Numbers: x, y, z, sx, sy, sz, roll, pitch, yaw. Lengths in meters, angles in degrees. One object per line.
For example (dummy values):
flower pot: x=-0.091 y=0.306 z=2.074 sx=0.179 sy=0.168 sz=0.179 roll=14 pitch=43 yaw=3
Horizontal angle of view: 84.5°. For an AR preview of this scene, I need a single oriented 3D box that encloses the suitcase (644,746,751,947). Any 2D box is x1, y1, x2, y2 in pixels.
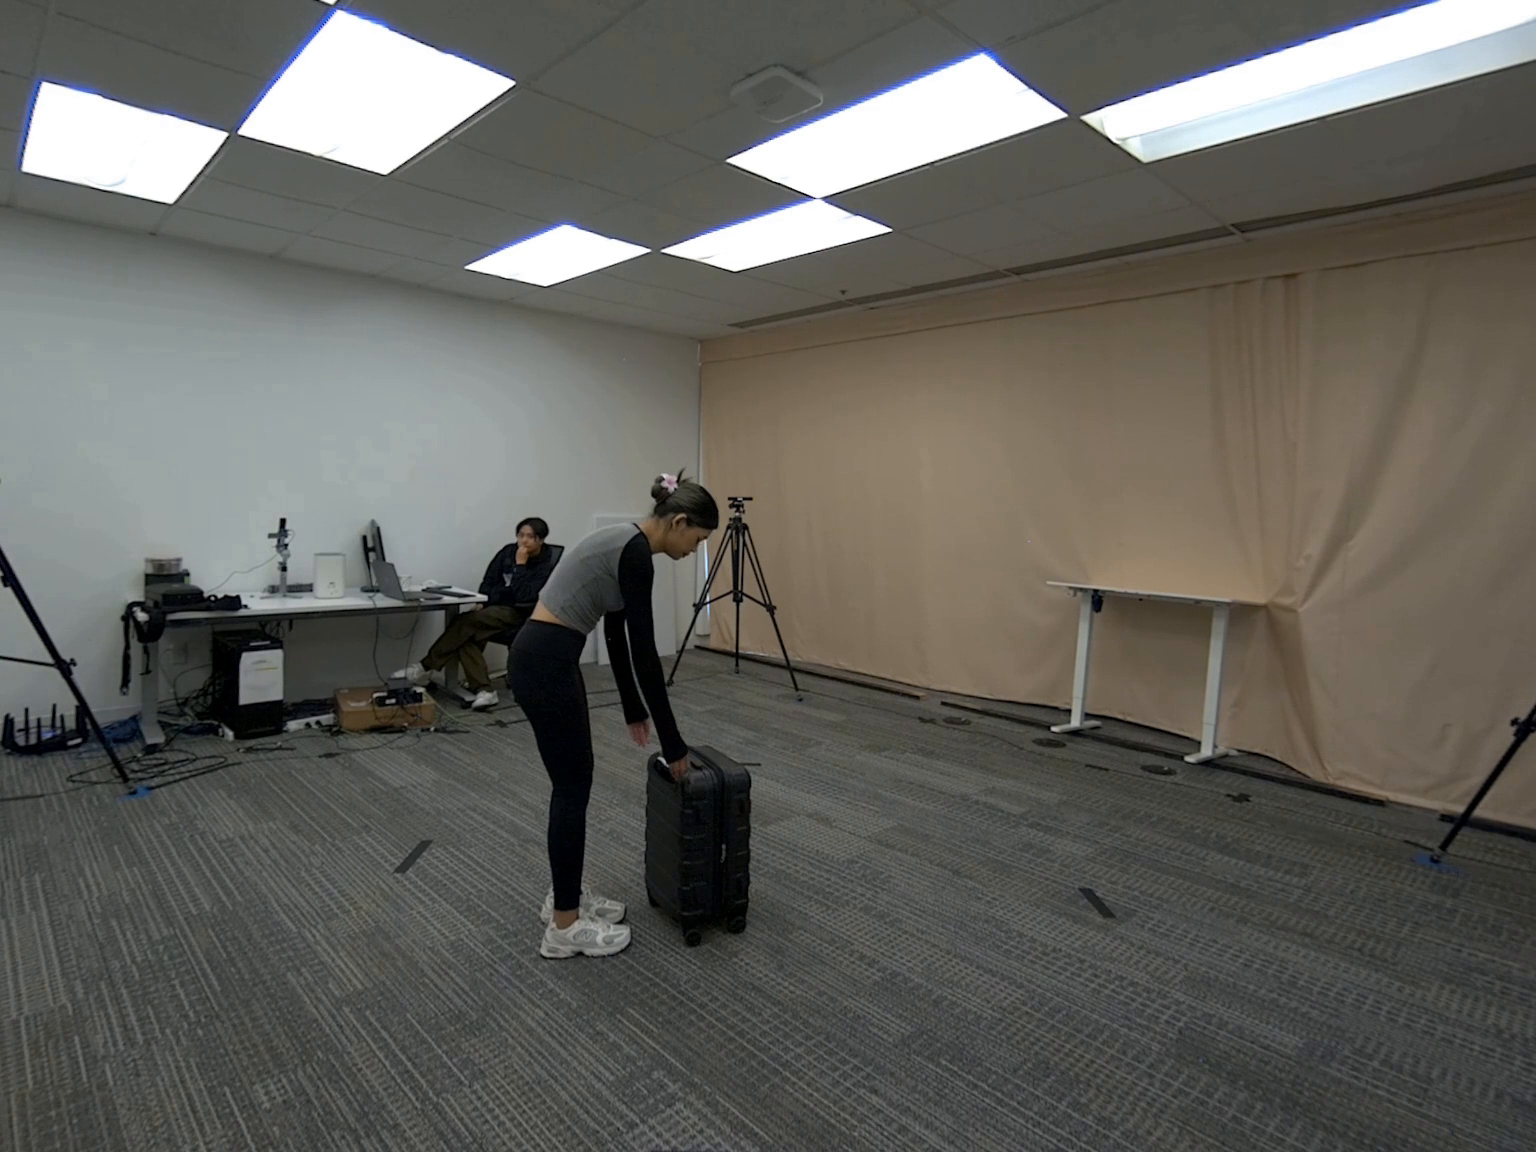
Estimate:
suitcase: x=-0.245 y=0.854 z=2.789 sx=0.243 sy=0.548 sz=0.383 roll=0 pitch=3 yaw=-28
